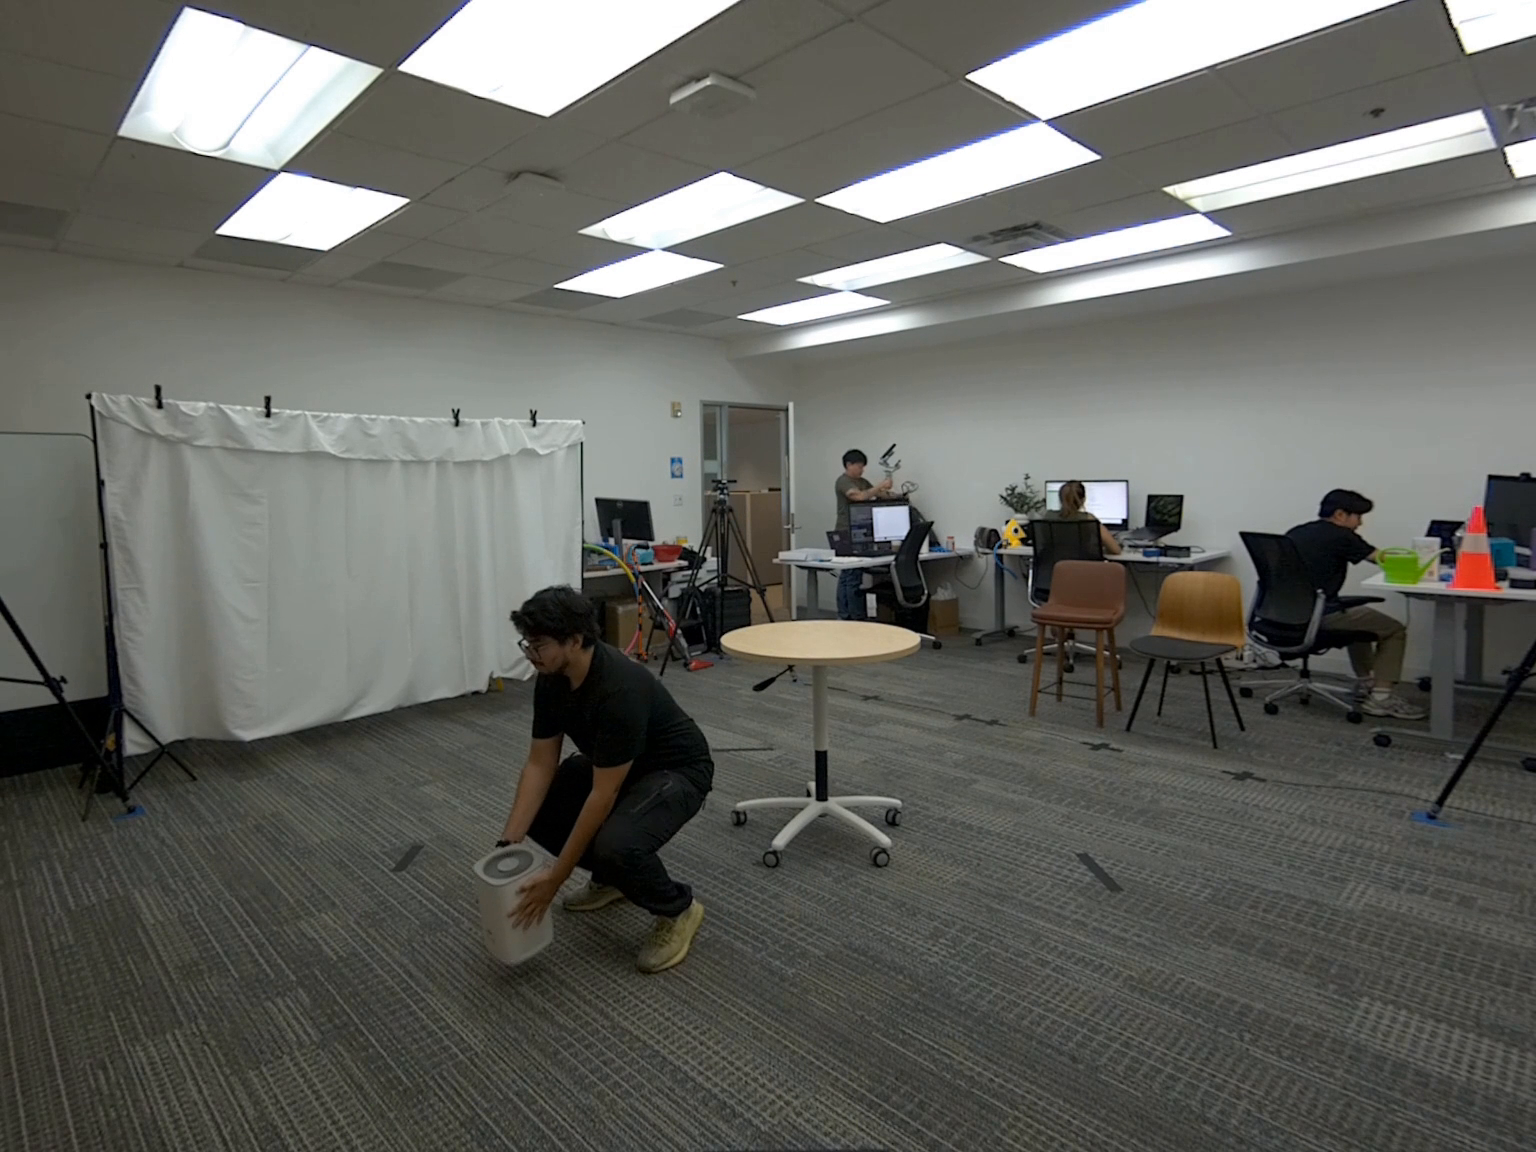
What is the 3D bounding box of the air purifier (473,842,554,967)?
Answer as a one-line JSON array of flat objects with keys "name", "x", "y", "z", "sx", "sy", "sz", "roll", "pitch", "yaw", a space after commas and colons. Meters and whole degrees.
[{"name": "air purifier", "x": -0.717, "y": 0.933, "z": 2.424, "sx": 0.176, "sy": 0.262, "sz": 0.168, "roll": 5, "pitch": 16, "yaw": 41}]
